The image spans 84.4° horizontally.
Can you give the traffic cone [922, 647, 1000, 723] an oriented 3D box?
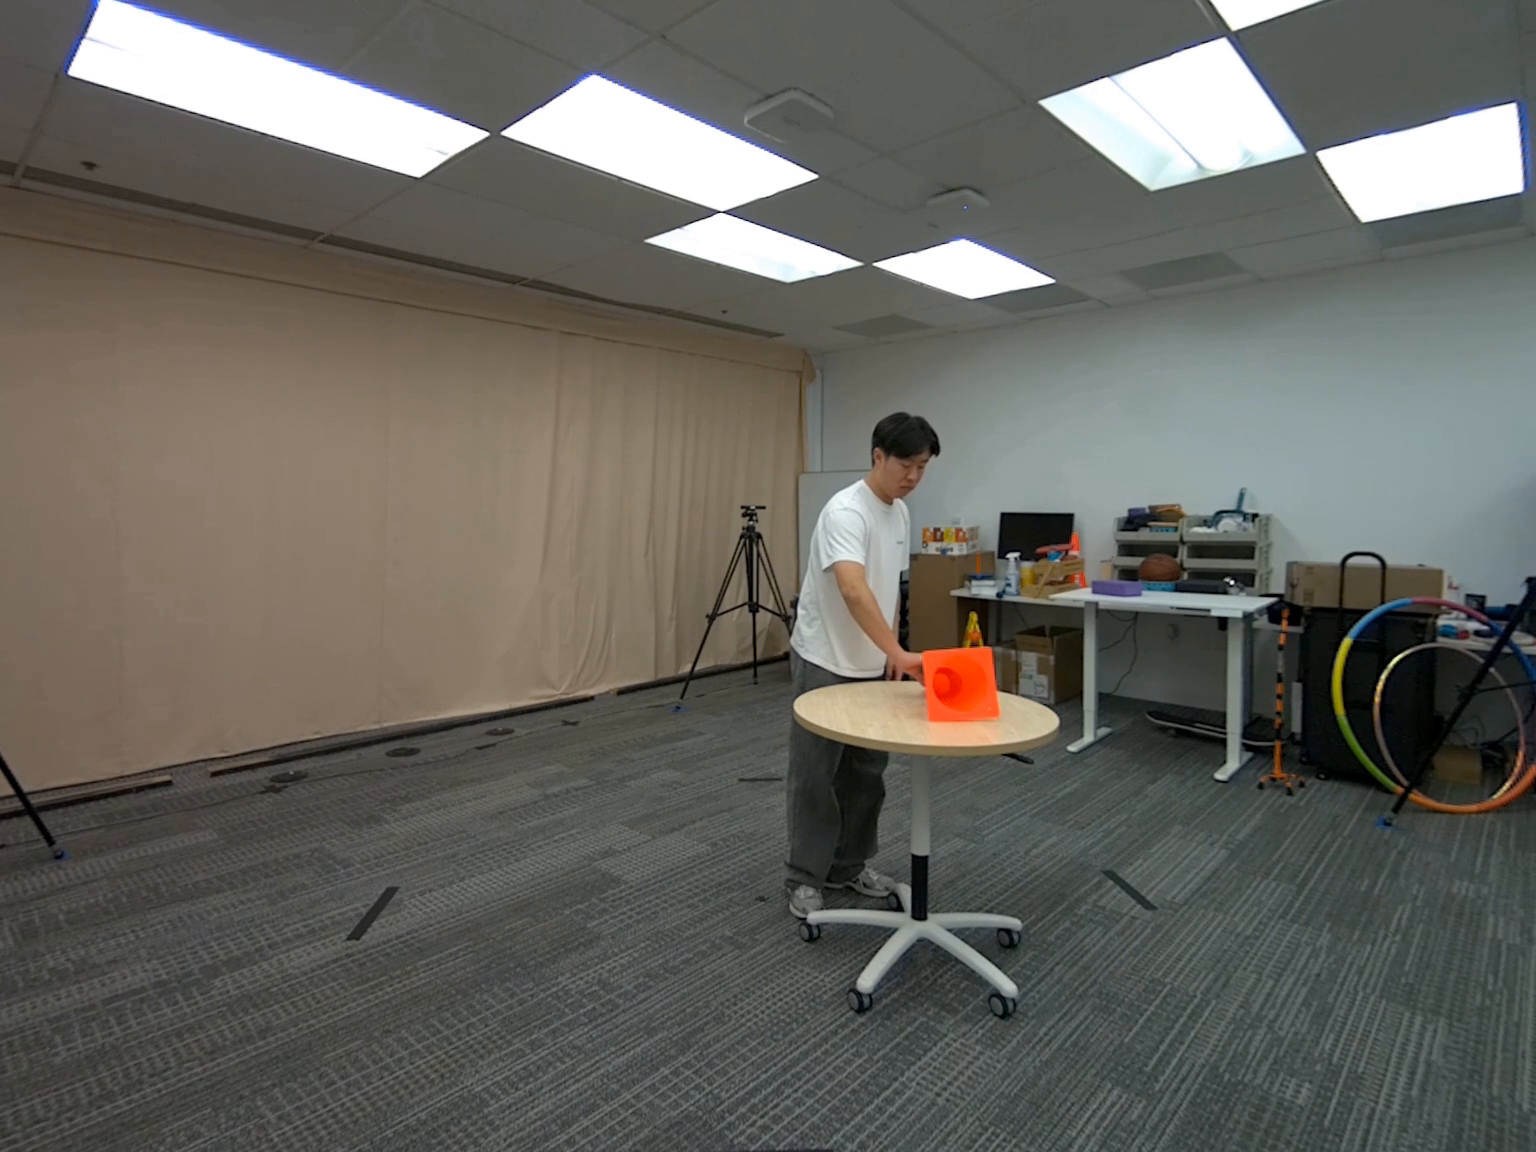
[{"bbox_3d":[0.542,0.336,2.573,0.203,0.206,0.381,-1,-9,-2],"label":"traffic cone"}]
